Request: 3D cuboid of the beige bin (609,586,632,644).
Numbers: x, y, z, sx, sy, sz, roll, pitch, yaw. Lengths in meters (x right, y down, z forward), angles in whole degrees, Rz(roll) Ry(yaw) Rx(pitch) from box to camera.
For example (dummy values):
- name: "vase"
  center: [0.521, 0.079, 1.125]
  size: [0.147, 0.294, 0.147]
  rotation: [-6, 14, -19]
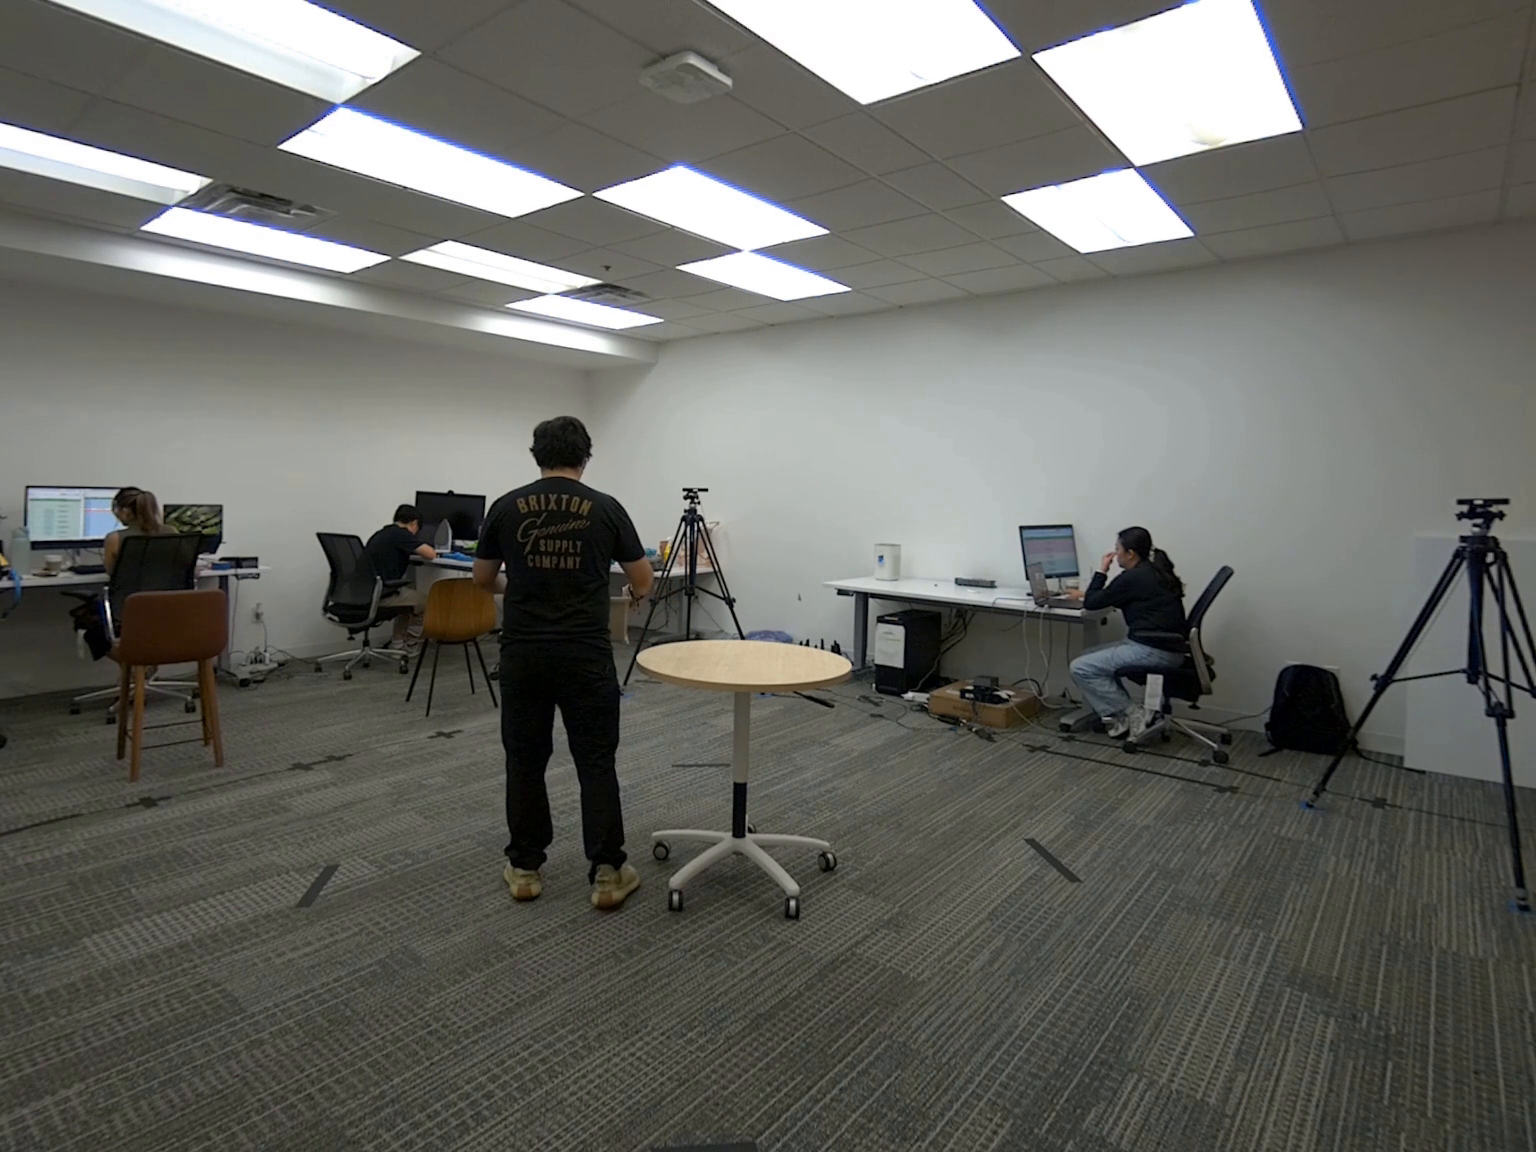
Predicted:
- name: "beige bin"
  center: [-0.763, 0.147, 3.347]
  size: [0.418, 0.188, 0.383]
  rotation: [0, 8, -9]
